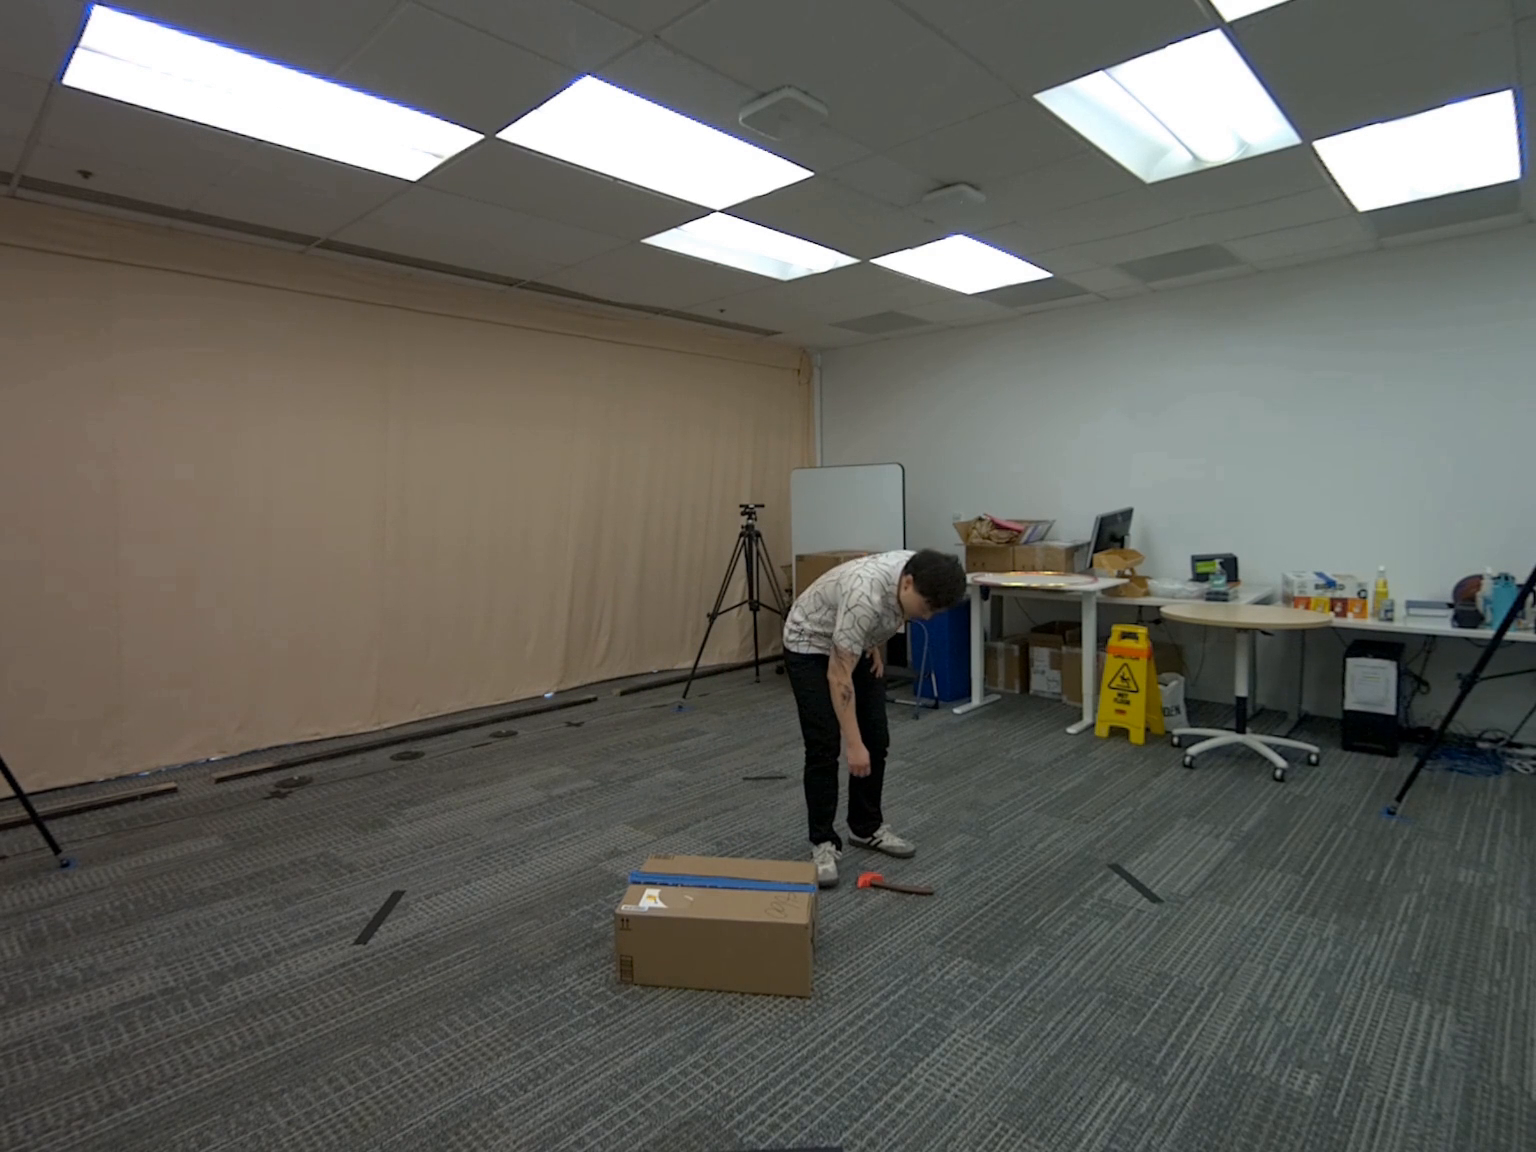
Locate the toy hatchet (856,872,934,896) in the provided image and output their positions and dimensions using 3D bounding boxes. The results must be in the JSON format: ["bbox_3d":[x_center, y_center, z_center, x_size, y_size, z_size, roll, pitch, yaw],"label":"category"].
[{"bbox_3d":[0.454,1.109,3.050,0.273,0.029,0.130,1,4,10],"label":"toy hatchet"}]
